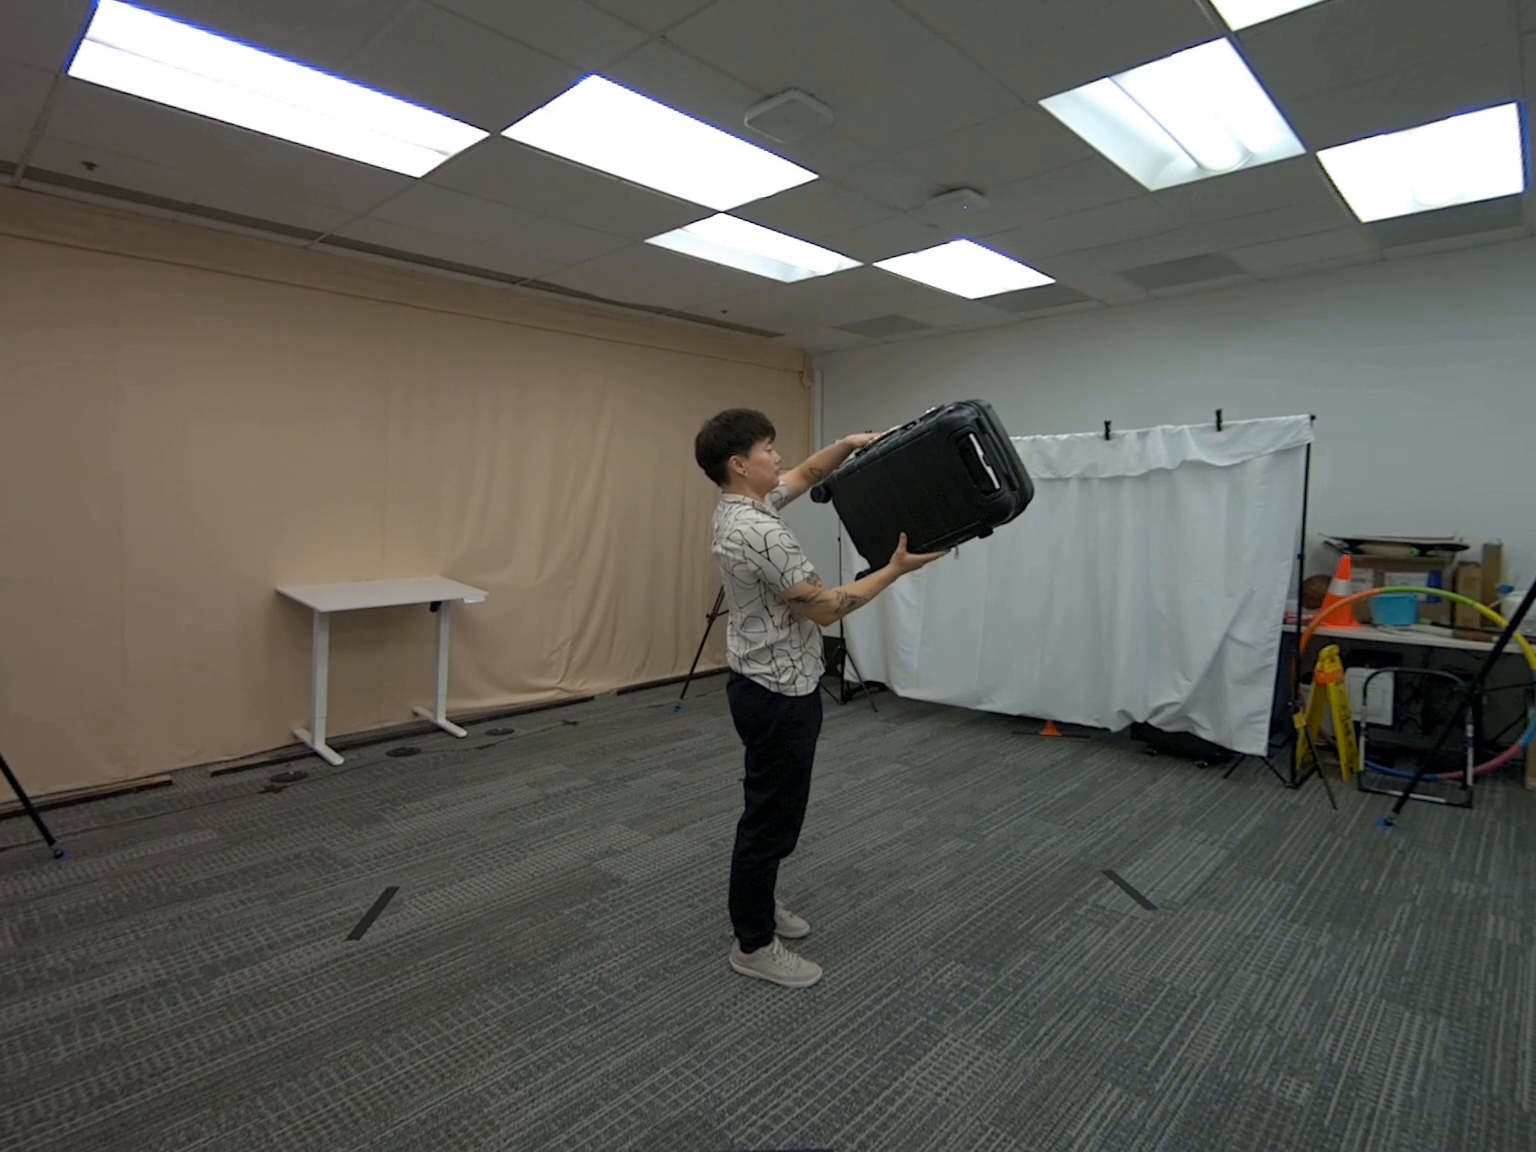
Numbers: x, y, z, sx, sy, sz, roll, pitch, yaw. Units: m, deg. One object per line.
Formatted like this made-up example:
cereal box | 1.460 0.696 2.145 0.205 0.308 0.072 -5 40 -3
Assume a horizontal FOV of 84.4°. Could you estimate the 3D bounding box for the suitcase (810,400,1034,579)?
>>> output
suitcase | 0.459 -0.246 2.430 0.560 0.376 0.243 -27 -2 41
